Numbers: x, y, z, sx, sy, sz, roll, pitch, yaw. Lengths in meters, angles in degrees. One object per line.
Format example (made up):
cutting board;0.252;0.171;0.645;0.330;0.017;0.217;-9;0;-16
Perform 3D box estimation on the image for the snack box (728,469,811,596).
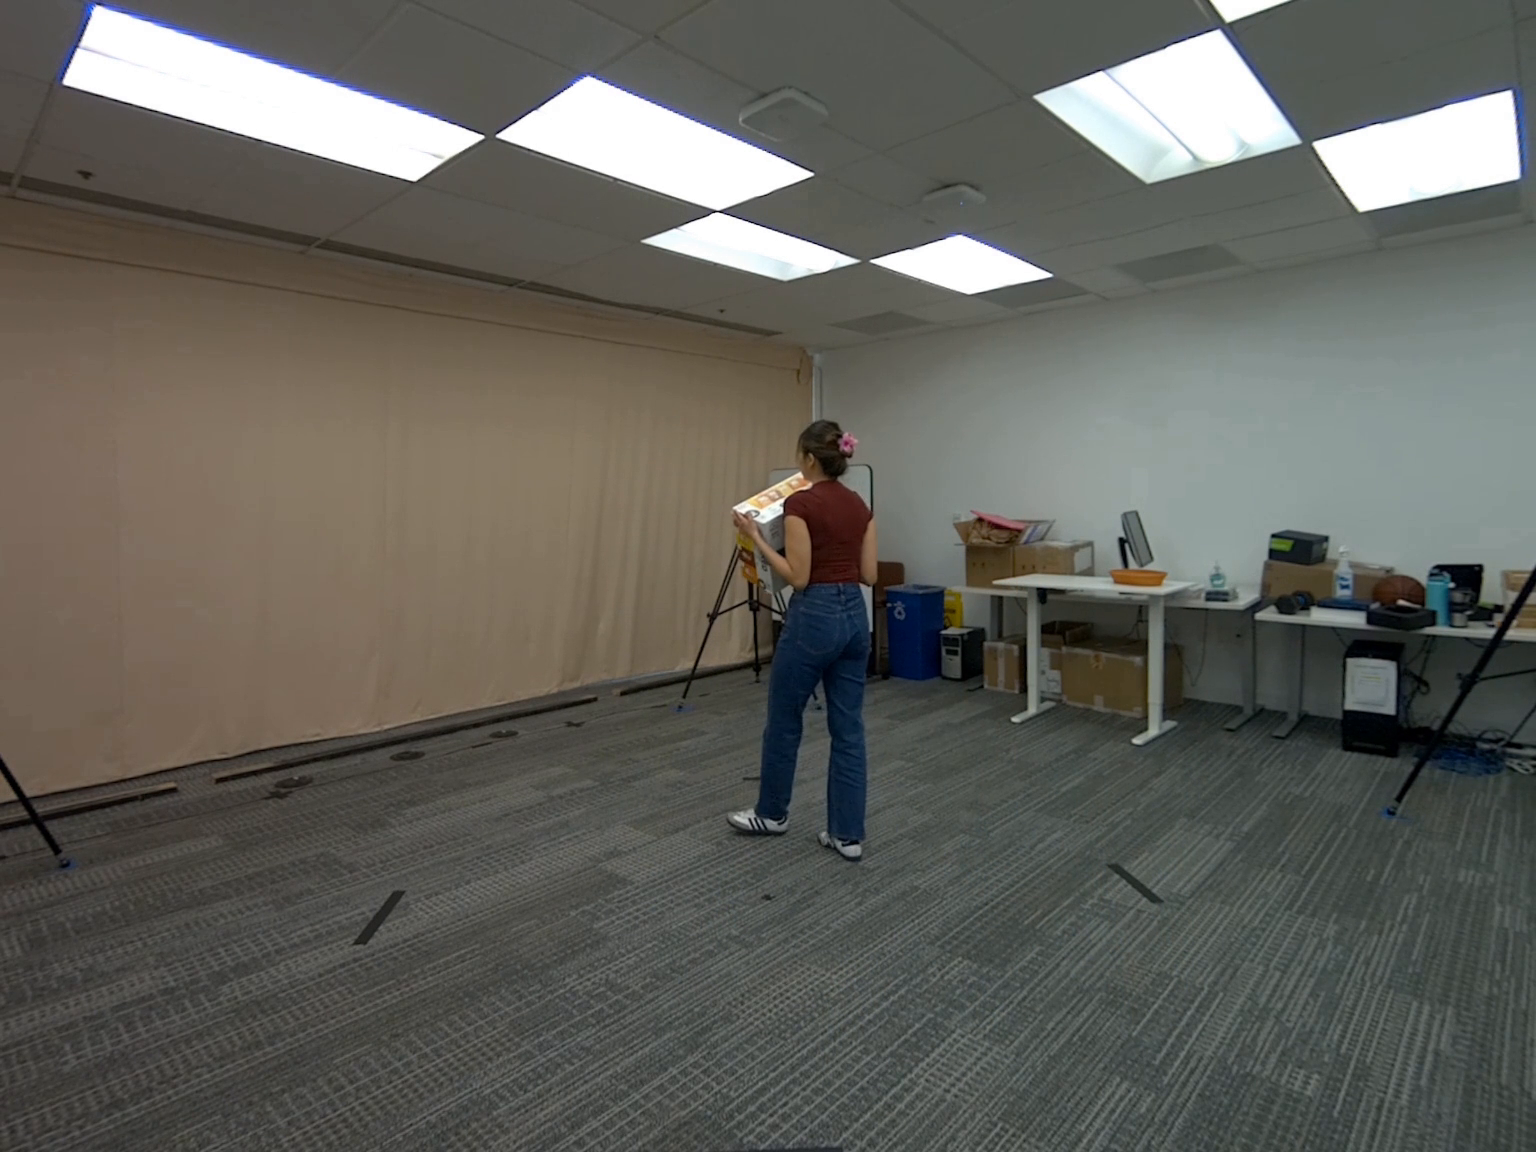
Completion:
snack box;0.081;-0.190;3.474;0.399;0.333;0.213;-30;39;-28
